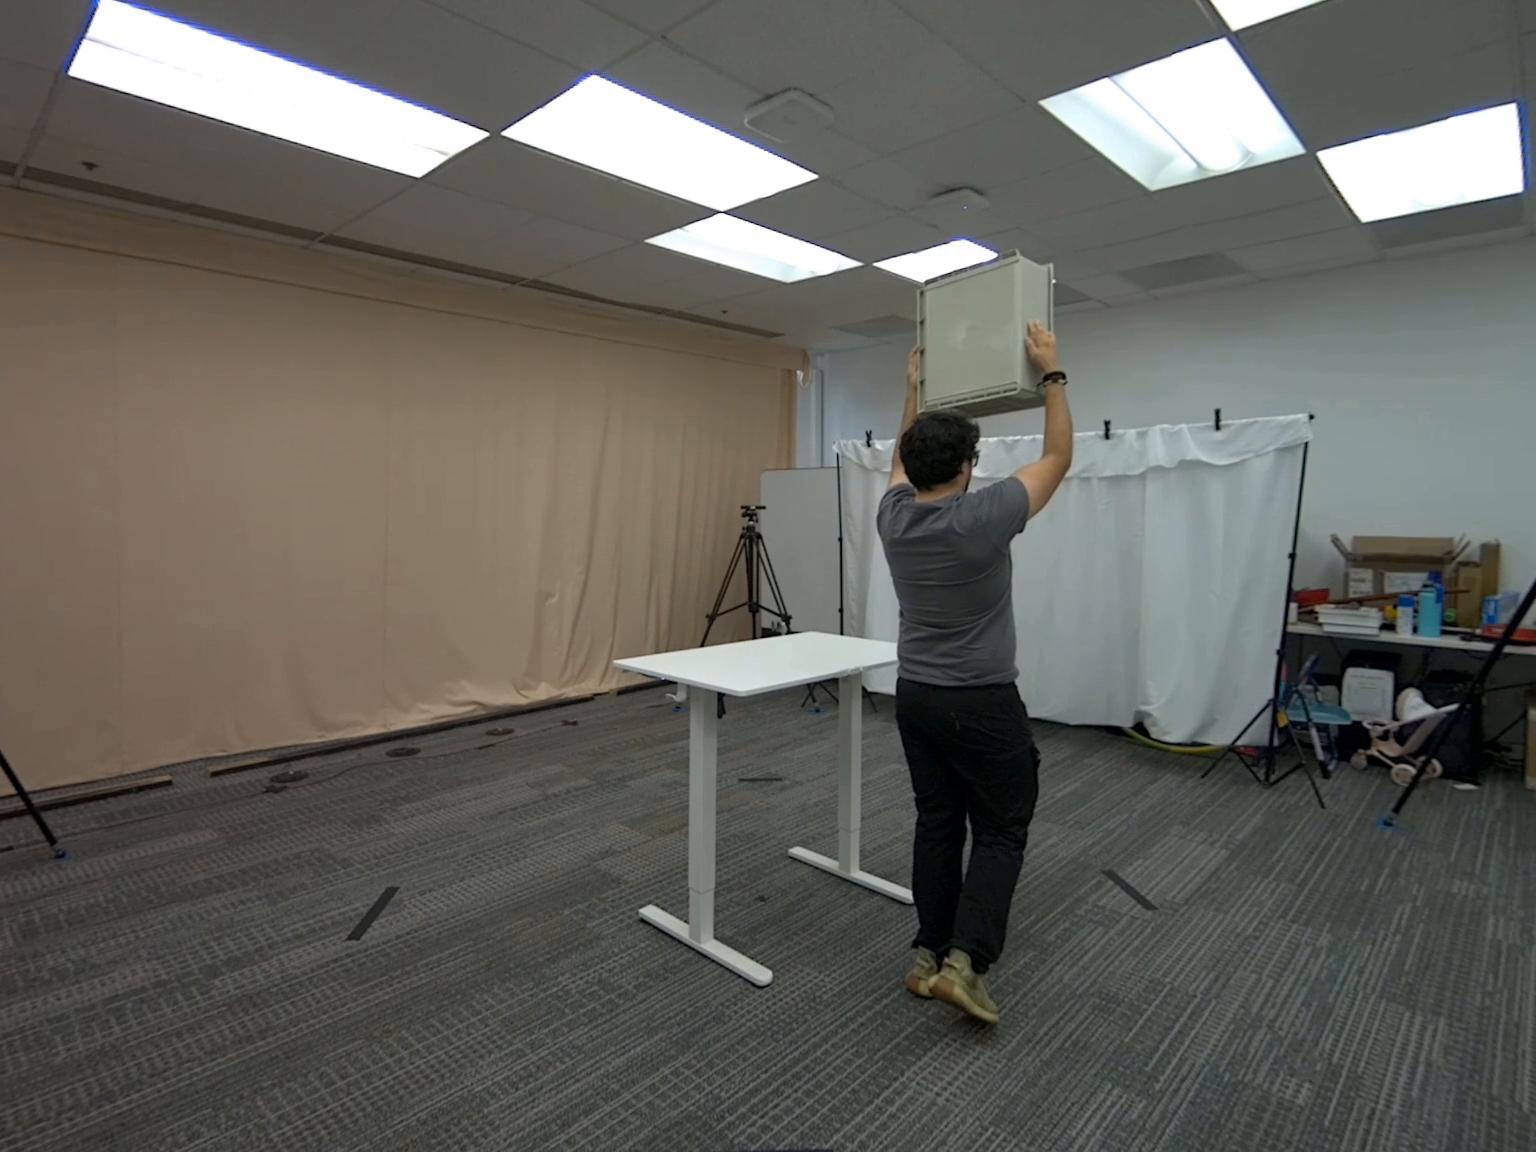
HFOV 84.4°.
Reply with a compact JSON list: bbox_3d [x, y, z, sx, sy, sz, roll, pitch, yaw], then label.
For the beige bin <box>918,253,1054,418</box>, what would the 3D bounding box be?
[{"bbox_3d":[0.651,-0.709,2.538,0.183,0.423,0.389,4,-5,-42],"label":"beige bin"}]
